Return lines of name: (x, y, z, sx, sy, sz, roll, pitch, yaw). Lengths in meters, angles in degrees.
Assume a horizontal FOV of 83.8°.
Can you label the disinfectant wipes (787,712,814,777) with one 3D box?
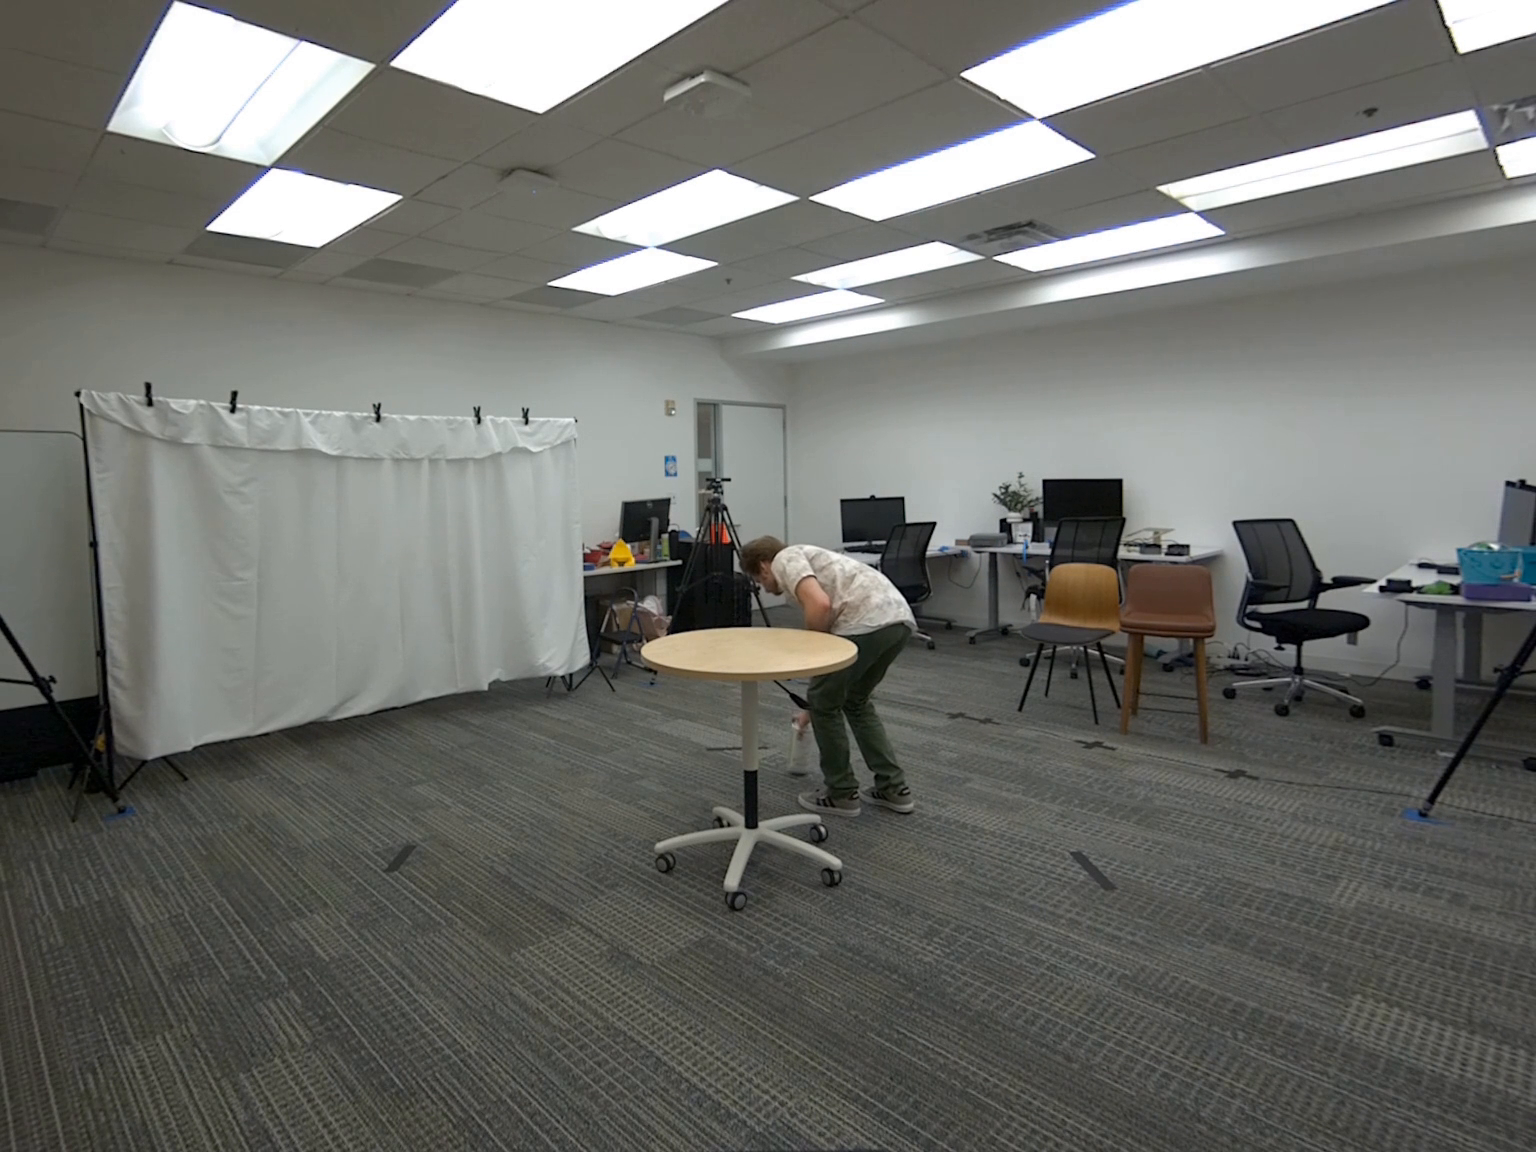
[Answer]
disinfectant wipes: (0.151, 0.793, 4.001, 0.117, 0.216, 0.119, 4, 7, -2)
